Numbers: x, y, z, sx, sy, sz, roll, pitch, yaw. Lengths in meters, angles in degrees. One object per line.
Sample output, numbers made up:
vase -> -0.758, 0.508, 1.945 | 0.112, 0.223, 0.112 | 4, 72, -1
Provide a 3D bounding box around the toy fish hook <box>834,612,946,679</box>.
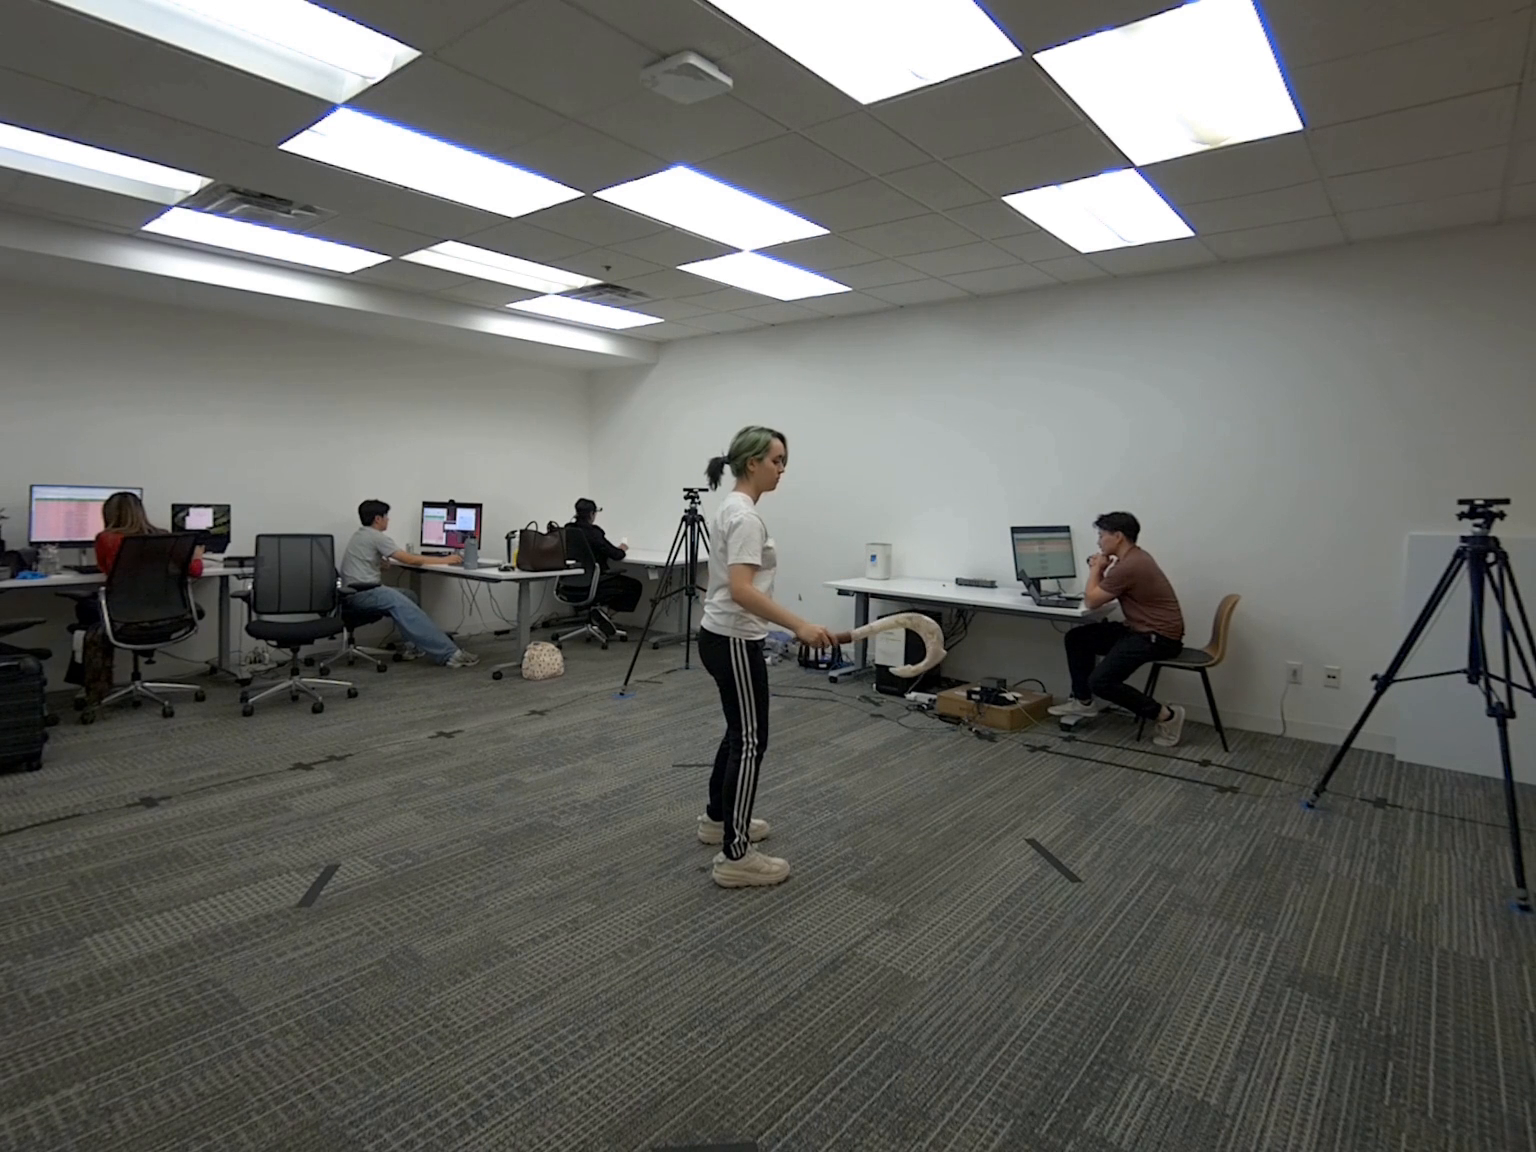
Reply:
toy fish hook -> 0.326, 0.225, 2.879 | 0.509, 0.231, 0.047 | -7, -34, 5
